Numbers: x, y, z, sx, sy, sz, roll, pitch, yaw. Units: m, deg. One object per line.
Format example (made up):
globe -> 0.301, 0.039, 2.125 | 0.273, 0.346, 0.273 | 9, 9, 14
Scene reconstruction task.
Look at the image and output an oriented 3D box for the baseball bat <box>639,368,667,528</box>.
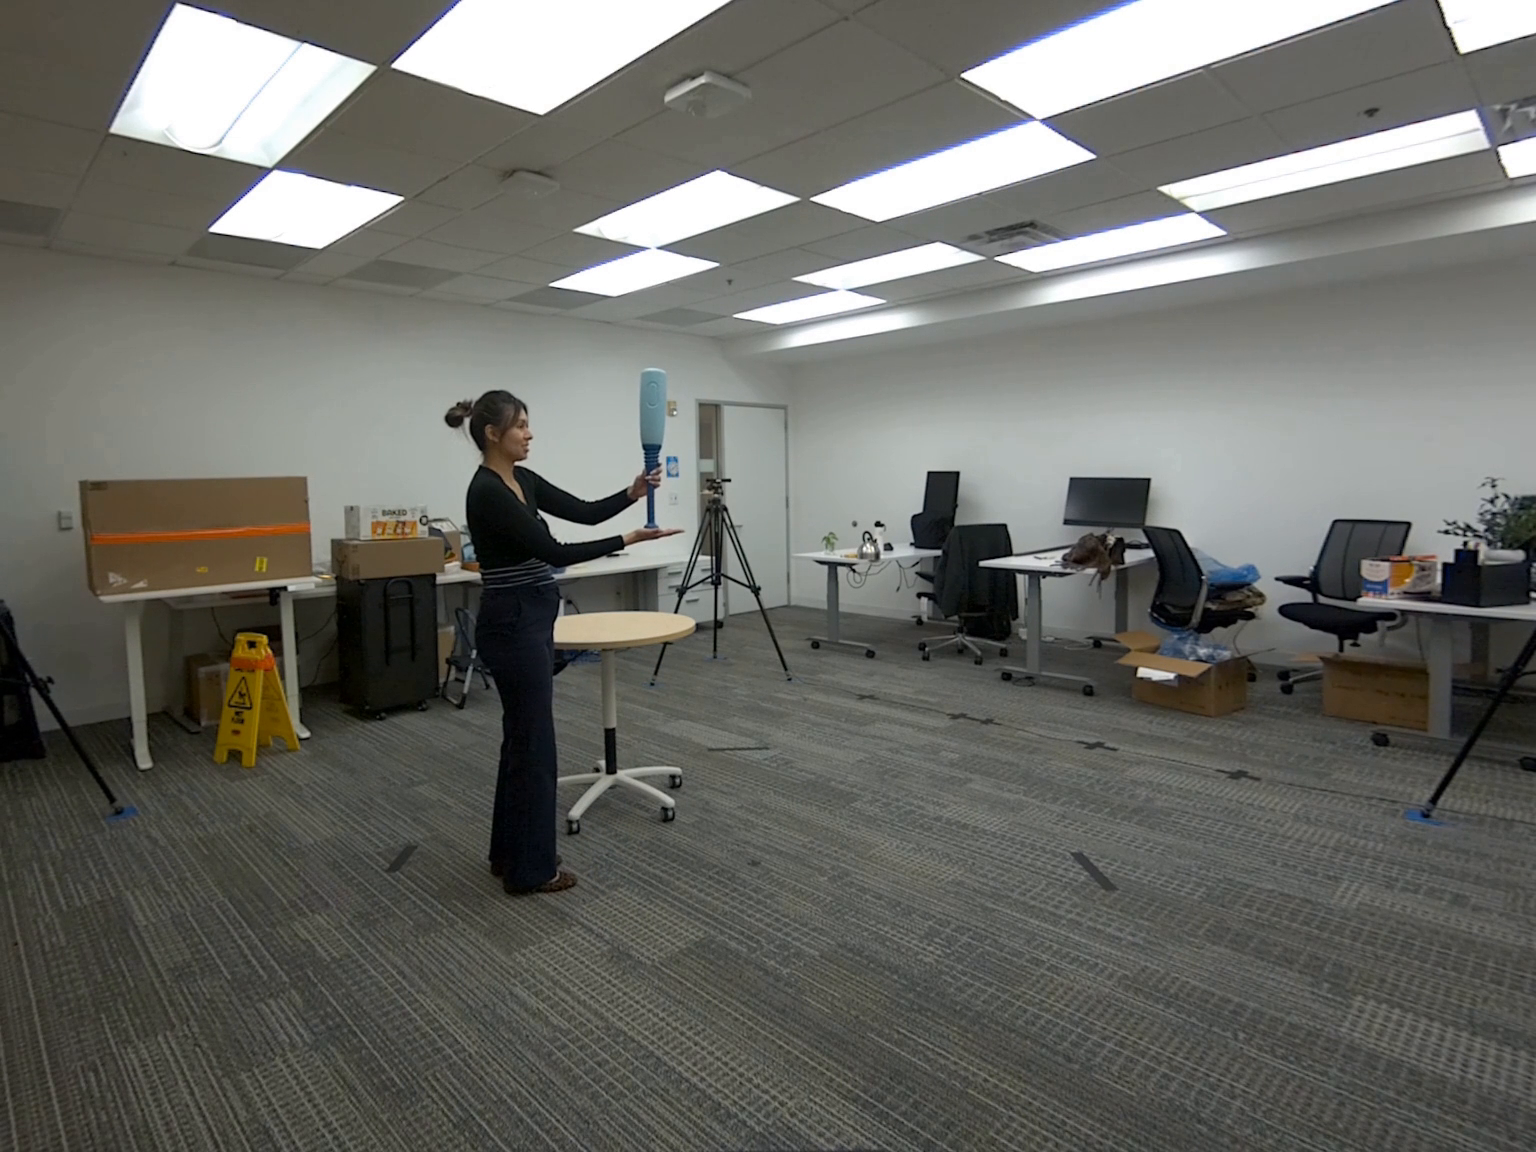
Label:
baseball bat -> -0.400, -0.421, 2.869 | 0.089, 0.542, 0.089 | 1, 2, -2
